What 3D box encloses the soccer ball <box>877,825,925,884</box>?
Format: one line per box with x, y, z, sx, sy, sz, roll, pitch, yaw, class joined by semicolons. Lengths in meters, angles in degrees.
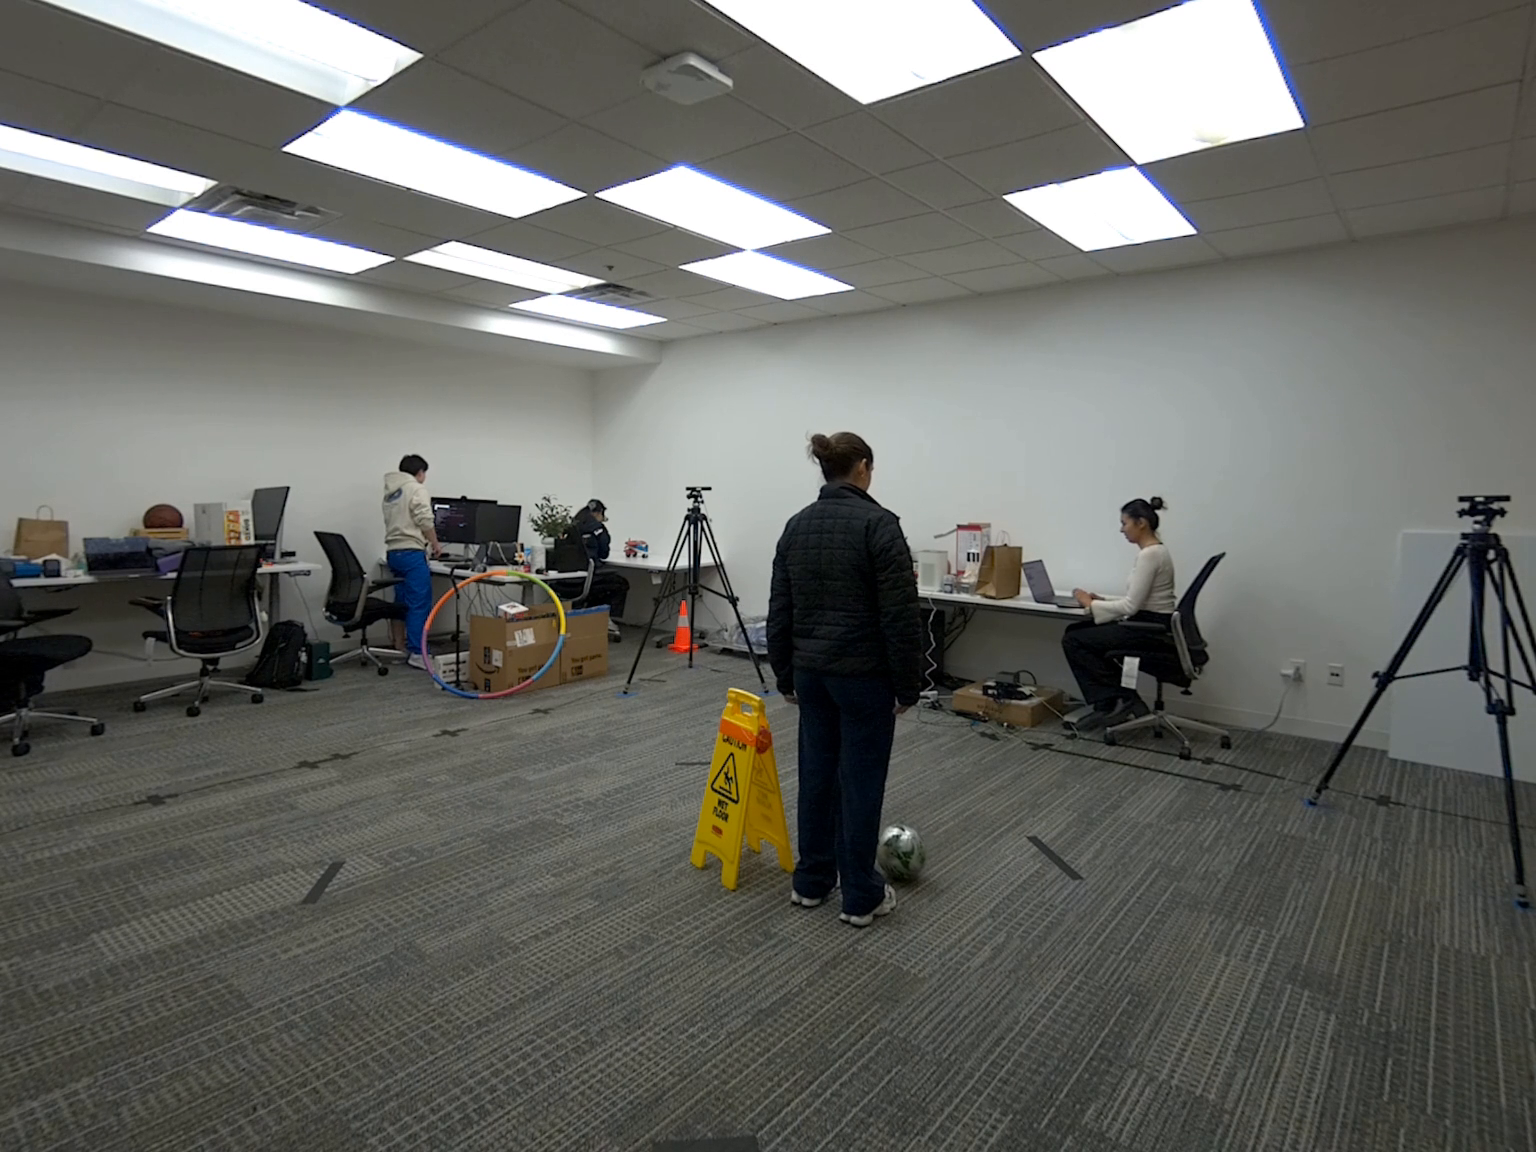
0.469;0.999;3.066;0.187;0.187;0.188;1;4;-2;soccer ball
